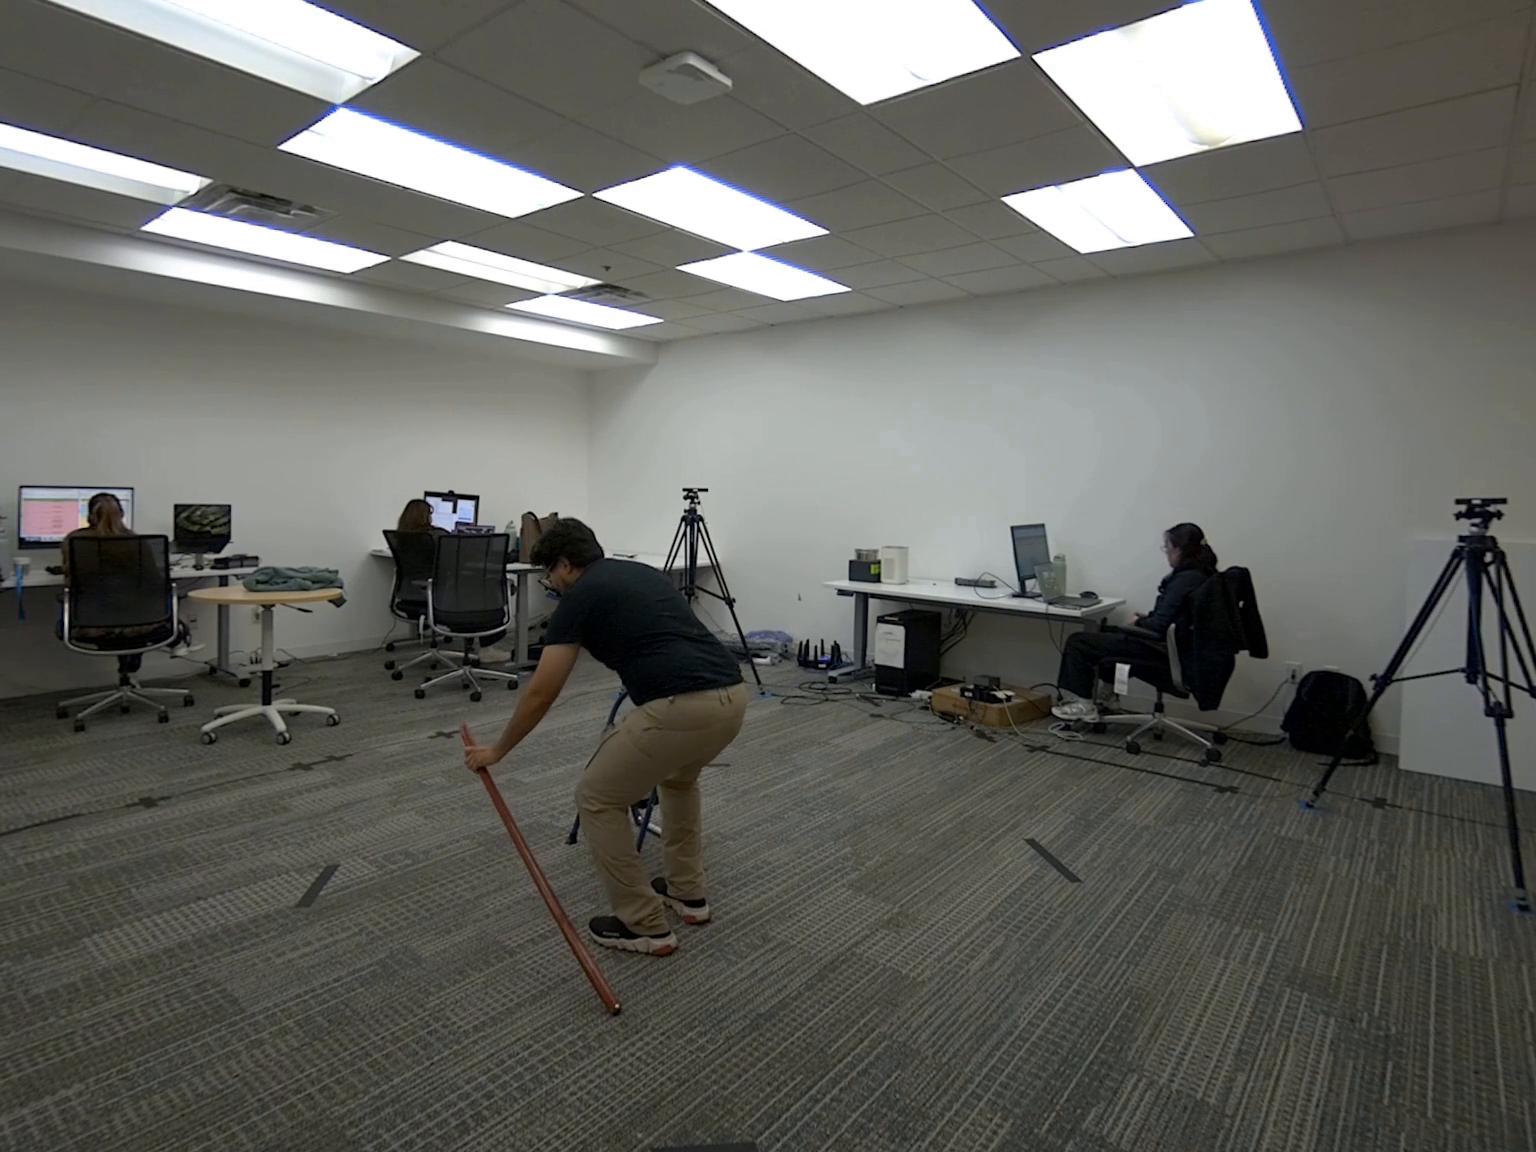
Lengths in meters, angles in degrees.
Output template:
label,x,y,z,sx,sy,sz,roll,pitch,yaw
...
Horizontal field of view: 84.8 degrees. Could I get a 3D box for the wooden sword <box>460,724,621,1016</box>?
label,x,y,z,sx,sy,sz,roll,pitch,yaw
wooden sword,-0.709,0.818,2.509,1.064,0.051,0.023,45,11,31
